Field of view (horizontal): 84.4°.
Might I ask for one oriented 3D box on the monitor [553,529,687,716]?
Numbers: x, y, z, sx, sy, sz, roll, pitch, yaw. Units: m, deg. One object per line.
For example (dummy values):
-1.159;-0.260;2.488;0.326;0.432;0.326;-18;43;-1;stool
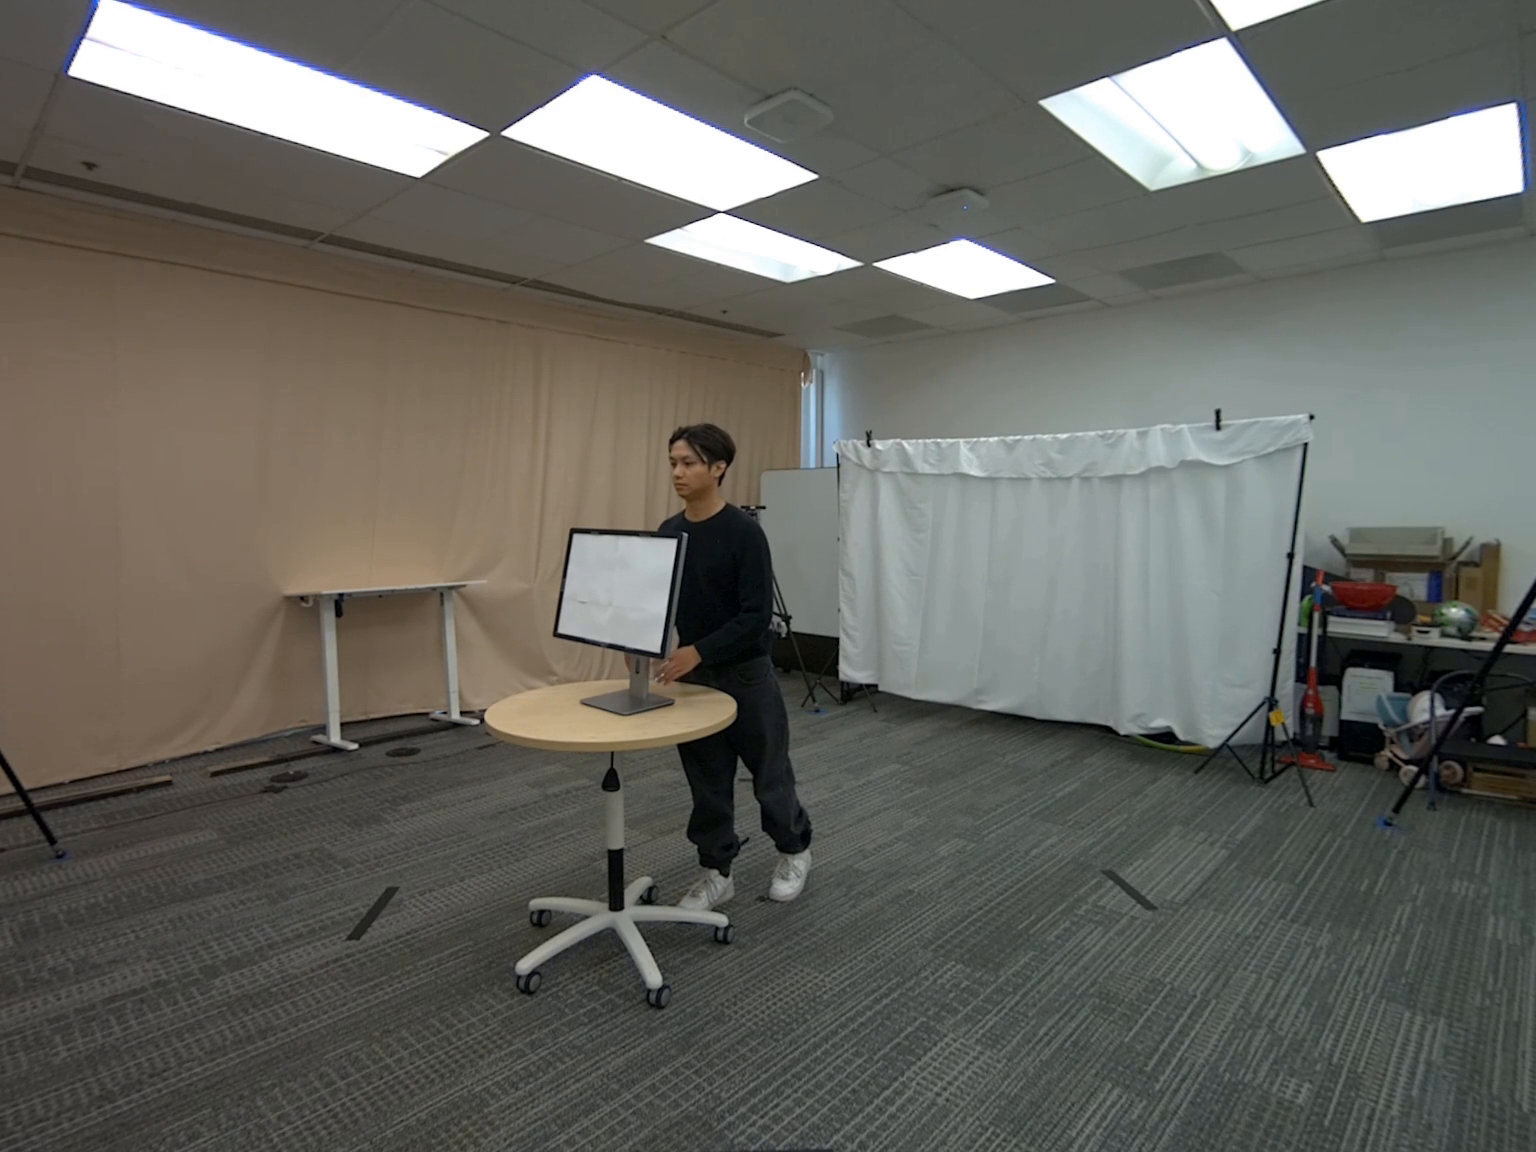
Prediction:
-0.438;0.131;2.611;0.548;0.513;0.170;6;12;43;monitor
